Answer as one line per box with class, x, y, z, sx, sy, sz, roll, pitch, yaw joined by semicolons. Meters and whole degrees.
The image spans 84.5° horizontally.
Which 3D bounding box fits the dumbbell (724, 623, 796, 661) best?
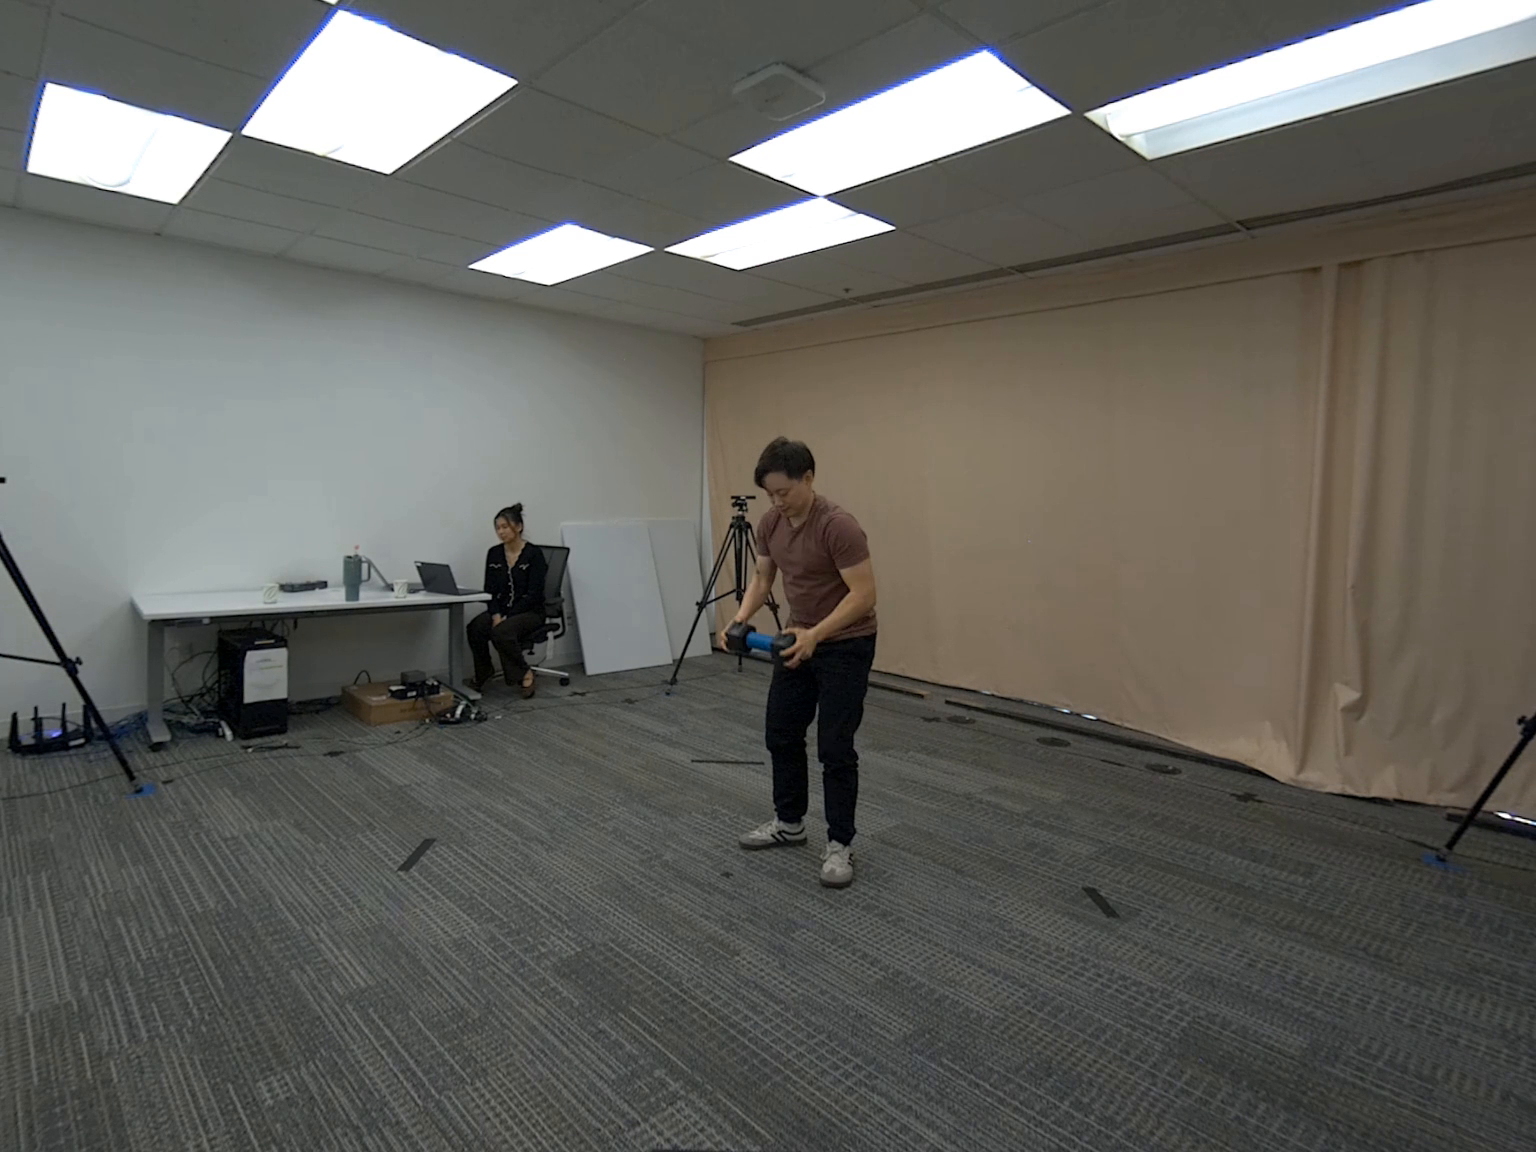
dumbbell;-0.014;0.234;3.054;0.301;0.109;0.119;9;-8;39
